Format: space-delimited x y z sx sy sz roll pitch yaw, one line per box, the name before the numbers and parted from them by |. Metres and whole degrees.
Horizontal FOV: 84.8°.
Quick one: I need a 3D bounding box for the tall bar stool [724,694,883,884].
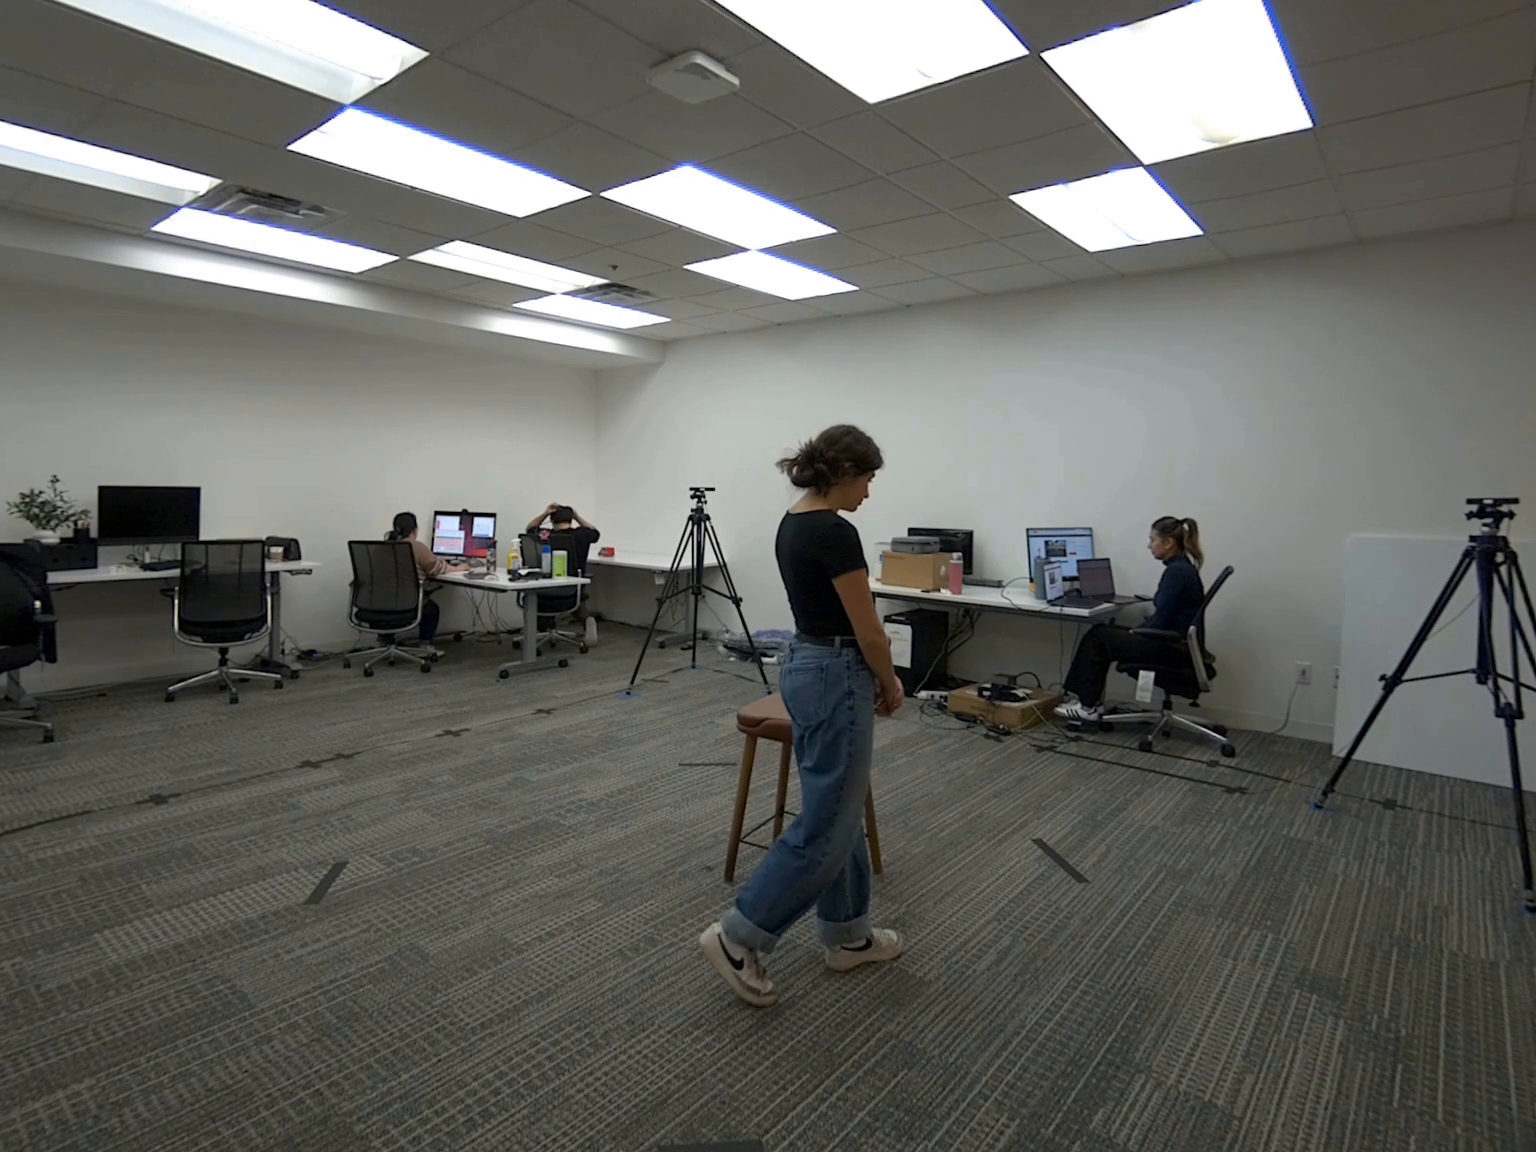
tall bar stool | 0.143 0.644 3.046 0.482 0.887 0.445 5 5 29
